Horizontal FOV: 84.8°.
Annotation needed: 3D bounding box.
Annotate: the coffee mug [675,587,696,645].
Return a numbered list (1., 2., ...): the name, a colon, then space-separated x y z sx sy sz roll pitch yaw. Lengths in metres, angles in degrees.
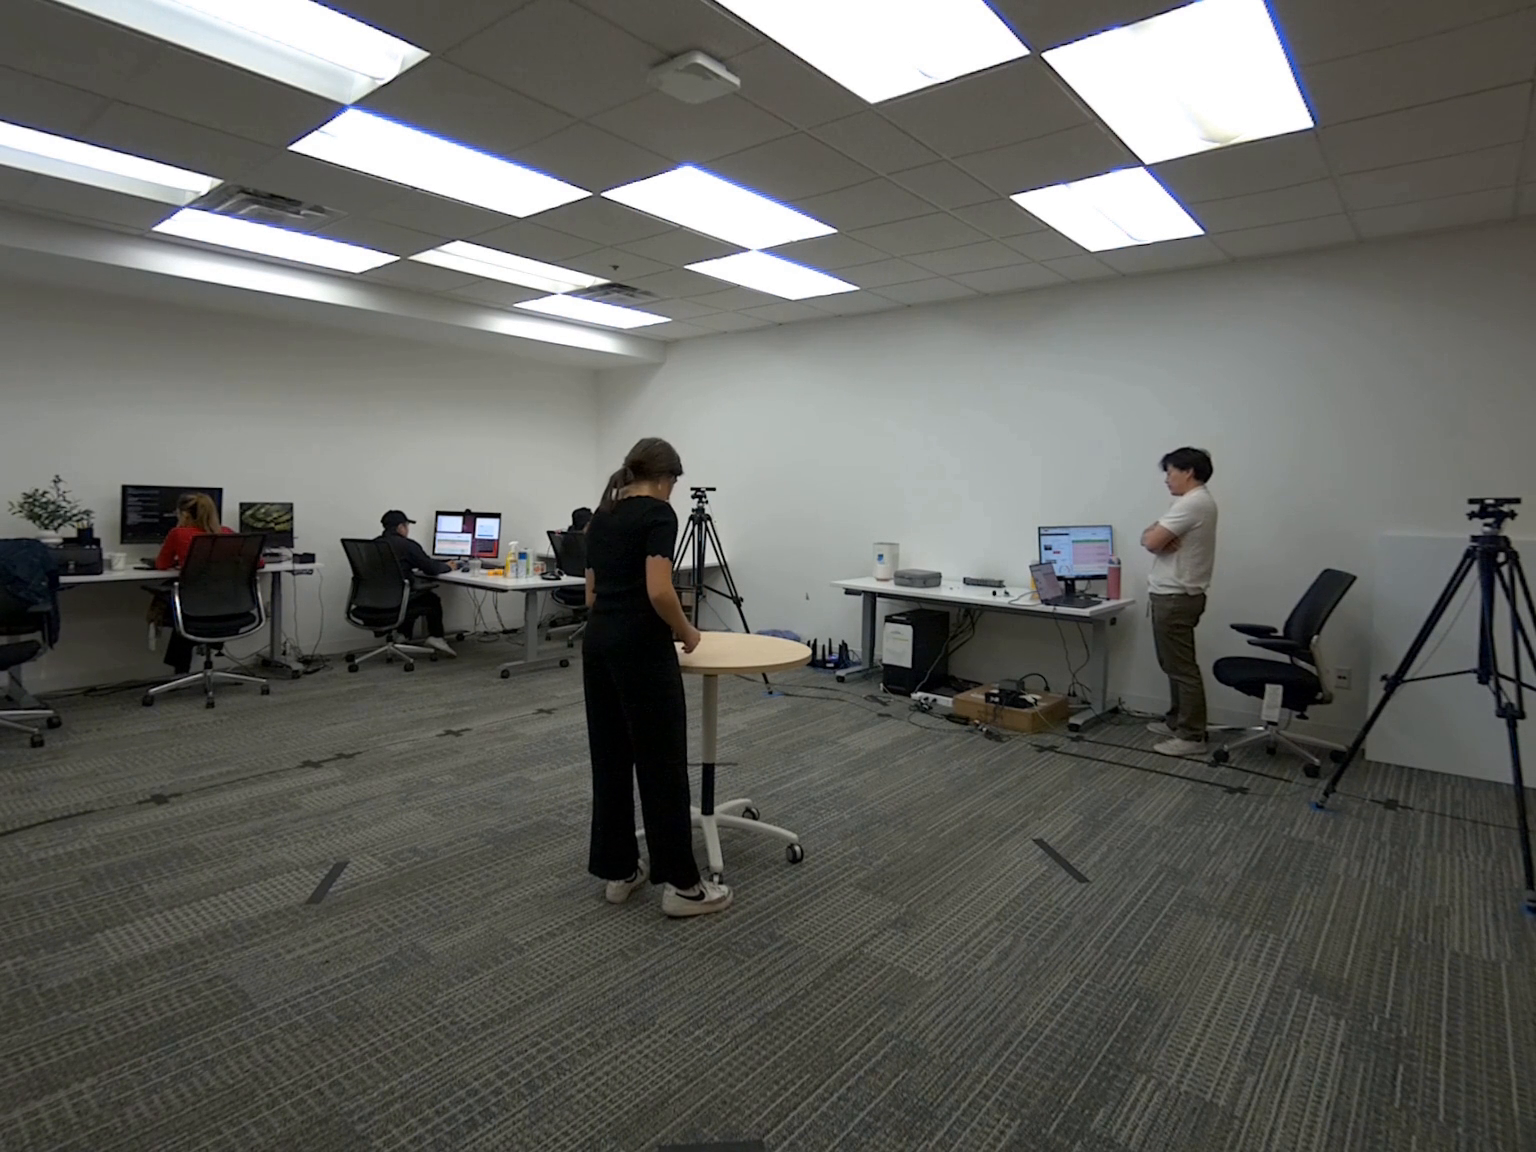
1. coffee mug: -0.347 0.141 3.097 0.124 0.203 0.086 3 -2 19
